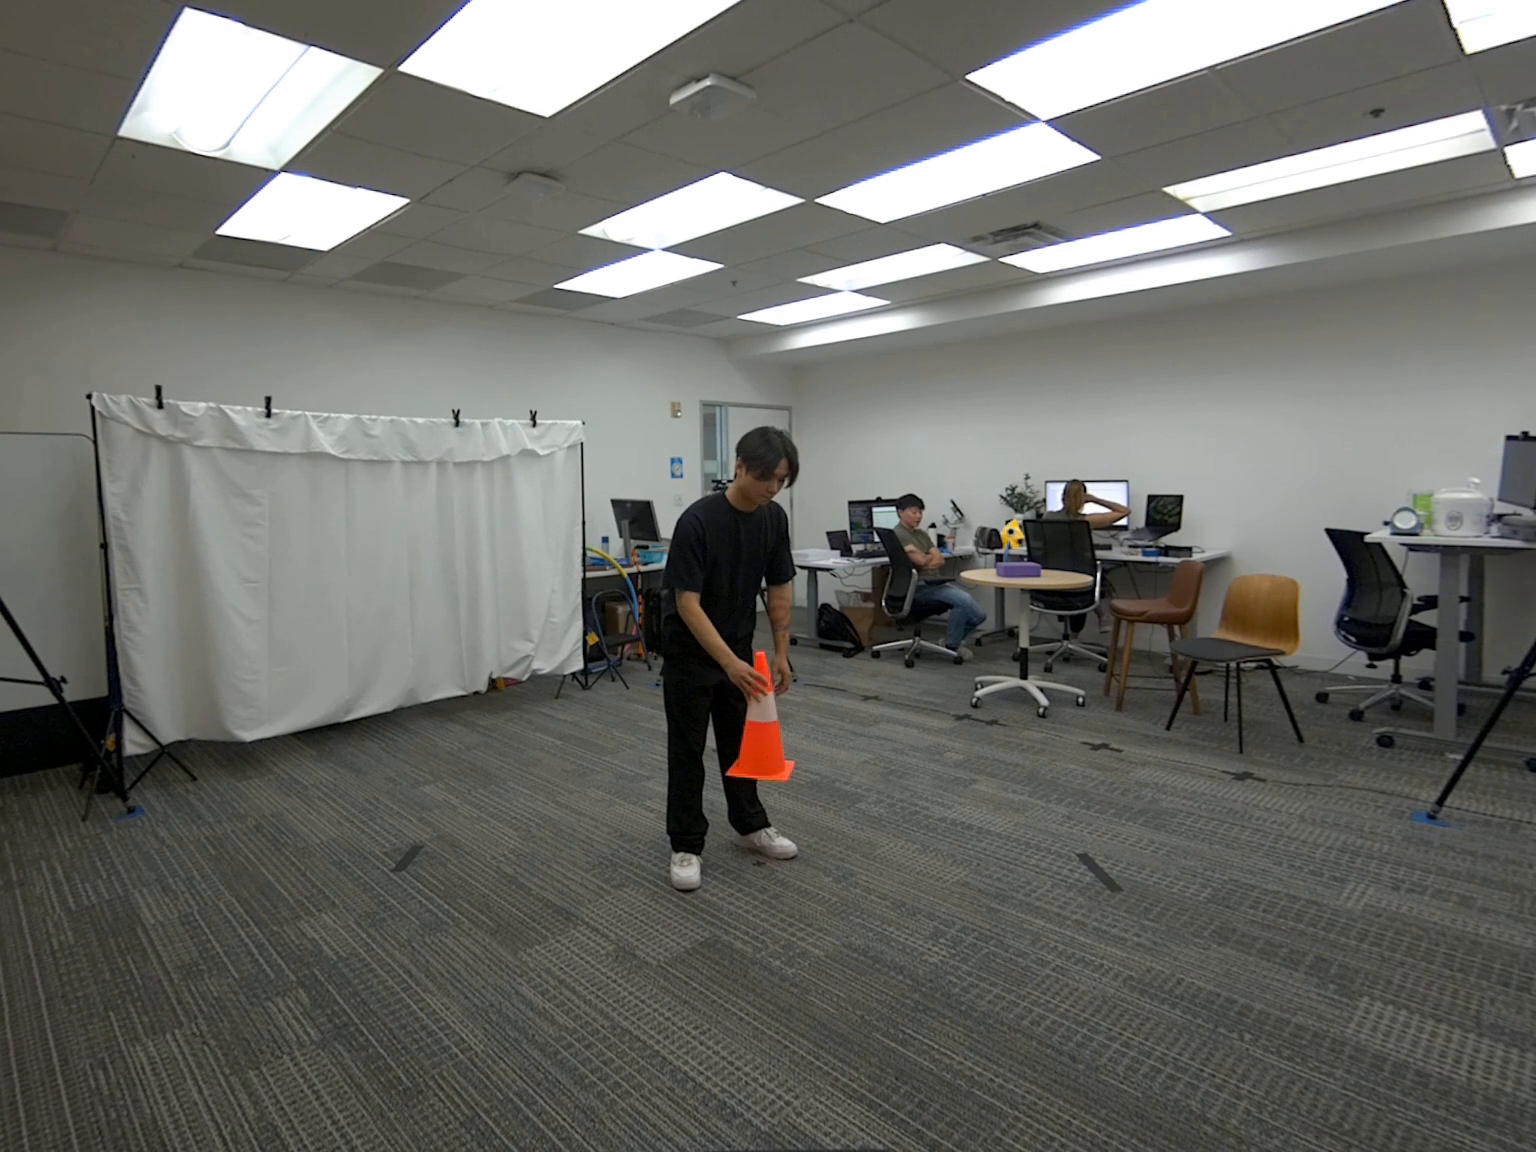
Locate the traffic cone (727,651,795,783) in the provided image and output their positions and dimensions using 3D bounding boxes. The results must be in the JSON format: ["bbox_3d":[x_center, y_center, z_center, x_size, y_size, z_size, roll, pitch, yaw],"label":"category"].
[{"bbox_3d":[-0.009,0.437,2.759,0.210,0.382,0.199,0,4,27],"label":"traffic cone"}]
